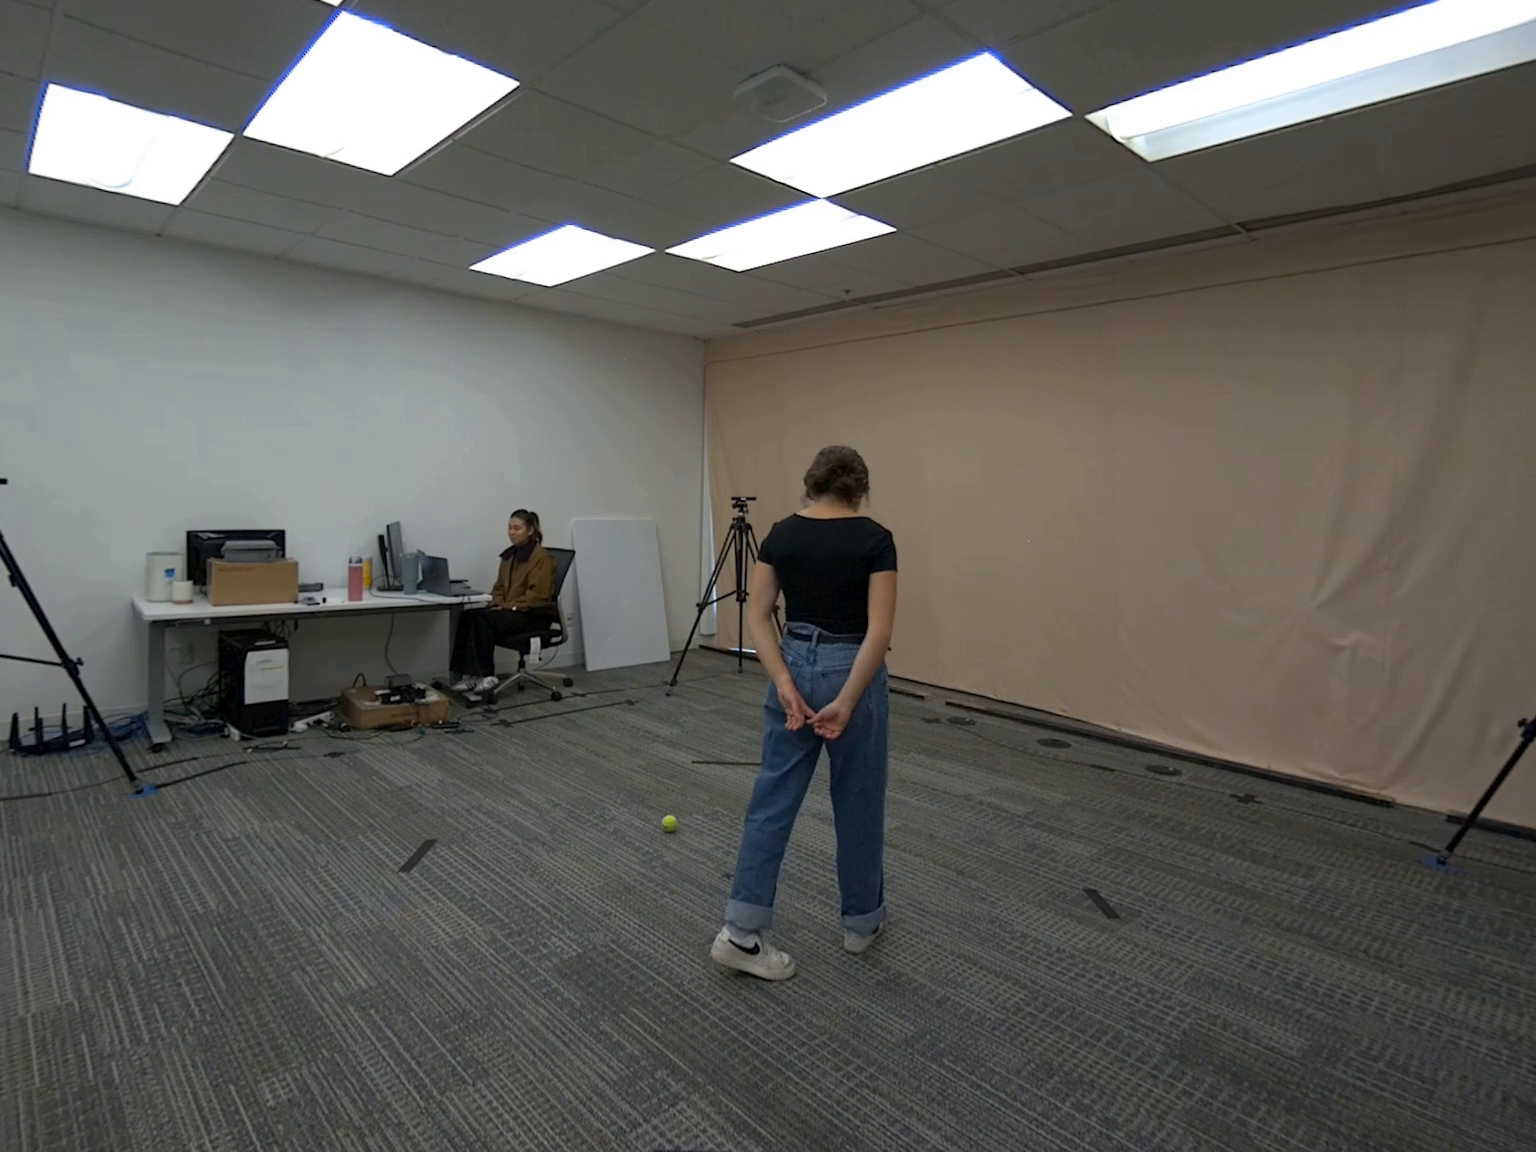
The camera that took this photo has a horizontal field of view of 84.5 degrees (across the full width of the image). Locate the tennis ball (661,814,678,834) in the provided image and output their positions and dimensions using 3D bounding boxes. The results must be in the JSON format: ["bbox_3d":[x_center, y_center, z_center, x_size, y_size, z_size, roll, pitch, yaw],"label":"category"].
[{"bbox_3d":[-0.427,1.017,3.509,0.066,0.066,0.067,1,4,-1],"label":"tennis ball"}]
